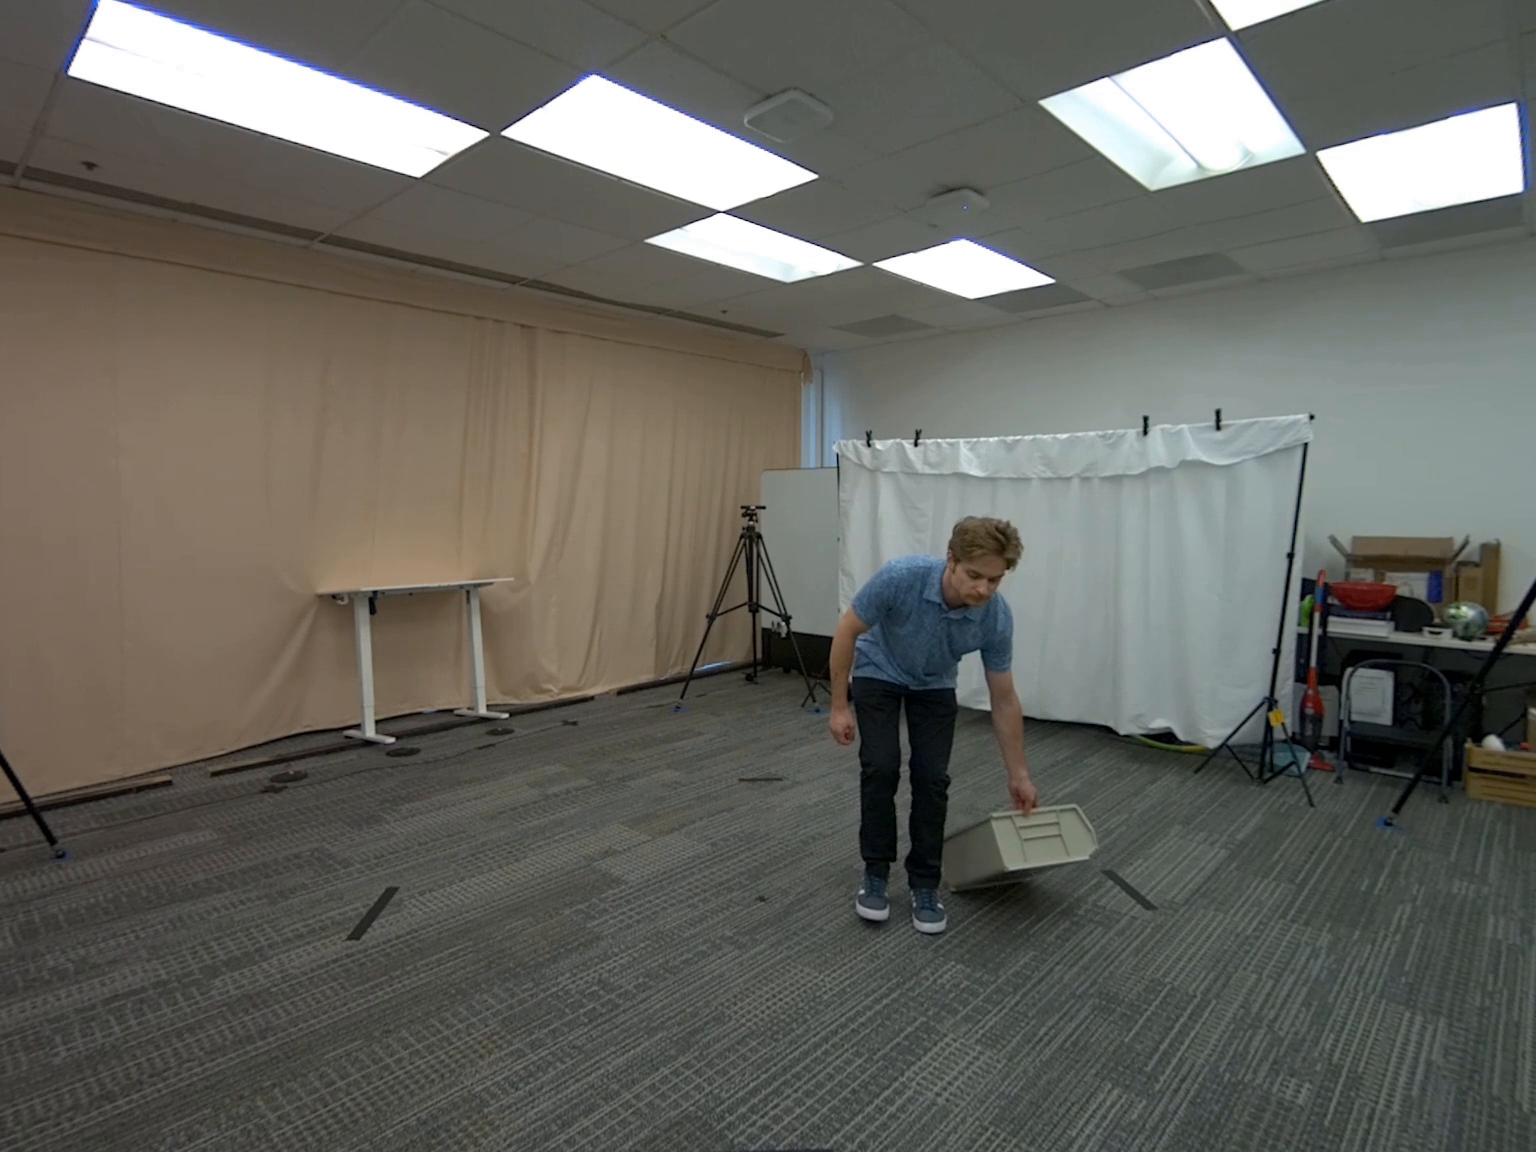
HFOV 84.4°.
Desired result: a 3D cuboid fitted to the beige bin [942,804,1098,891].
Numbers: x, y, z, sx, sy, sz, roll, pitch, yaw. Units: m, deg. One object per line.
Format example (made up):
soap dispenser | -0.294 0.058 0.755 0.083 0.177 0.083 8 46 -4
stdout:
beige bin | 0.864 0.958 2.948 0.371 0.193 0.421 -1 -28 -18
